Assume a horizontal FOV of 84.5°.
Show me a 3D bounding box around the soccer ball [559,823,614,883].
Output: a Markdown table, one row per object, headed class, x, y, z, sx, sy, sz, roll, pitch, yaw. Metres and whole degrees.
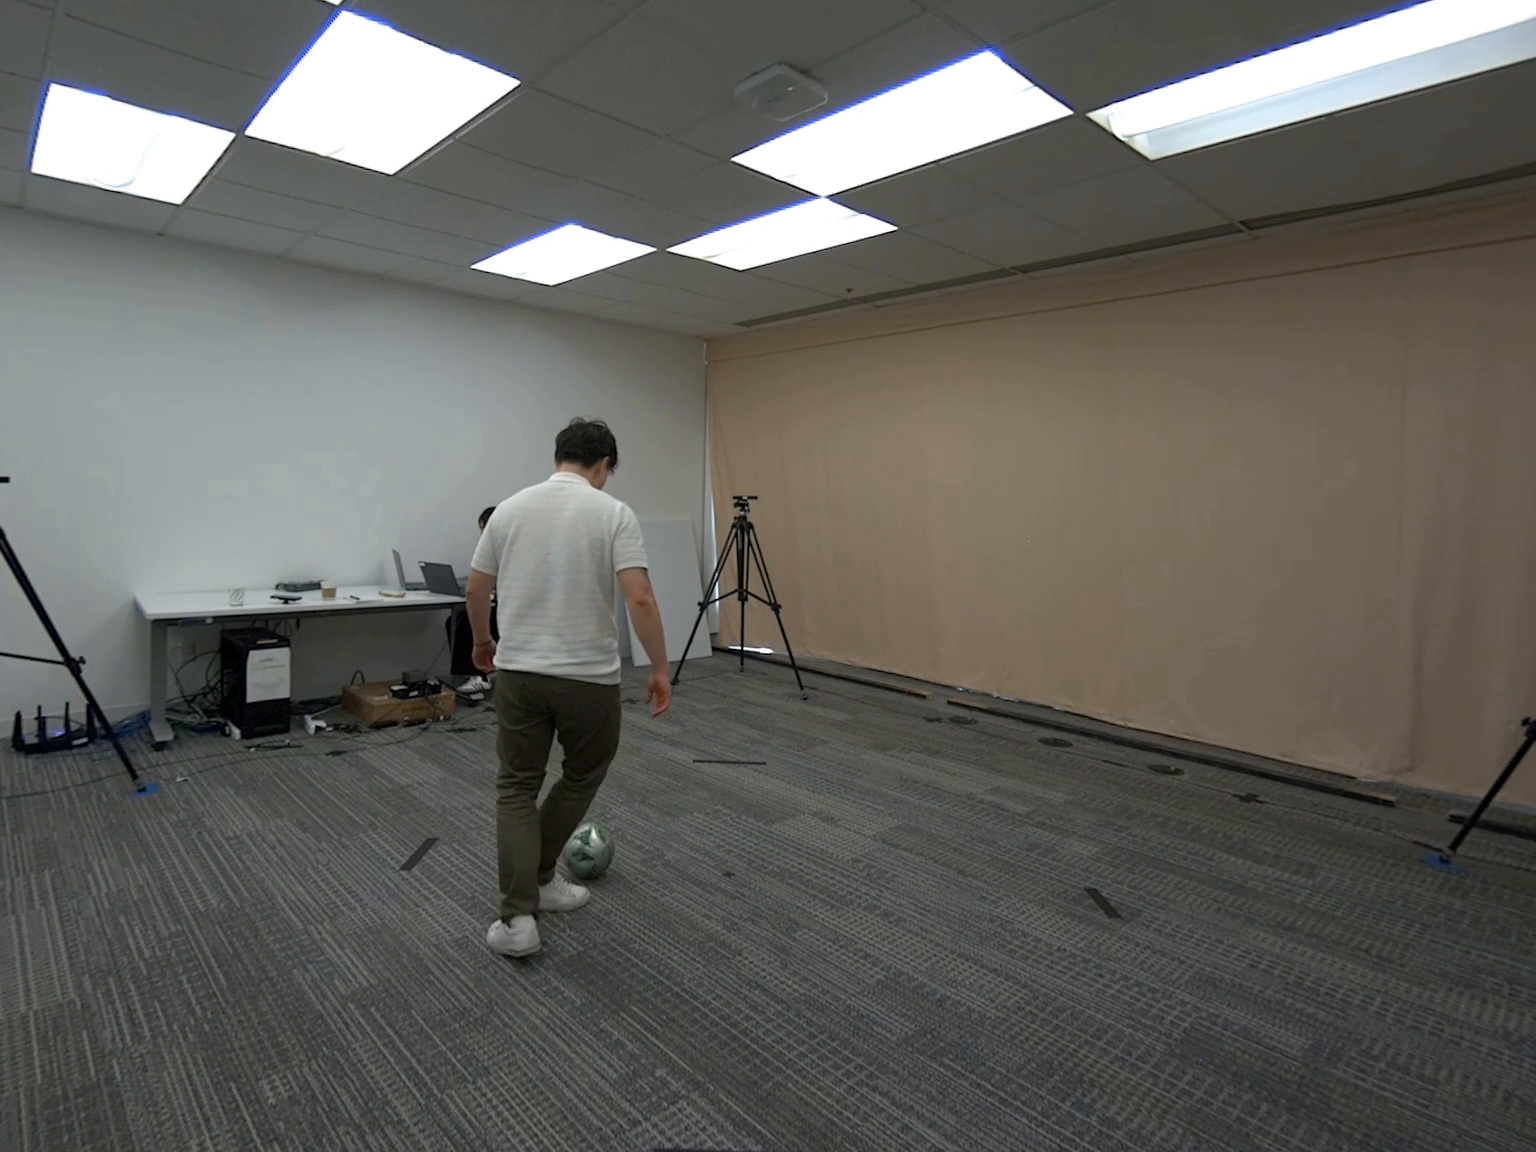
| class | x | y | z | sx | sy | sz | roll | pitch | yaw |
| --- | --- | --- | --- | --- | --- | --- | --- | --- | --- |
| soccer ball | -0.662 | 1.003 | 3.059 | 0.187 | 0.187 | 0.188 | 1 | 4 | -1 |
